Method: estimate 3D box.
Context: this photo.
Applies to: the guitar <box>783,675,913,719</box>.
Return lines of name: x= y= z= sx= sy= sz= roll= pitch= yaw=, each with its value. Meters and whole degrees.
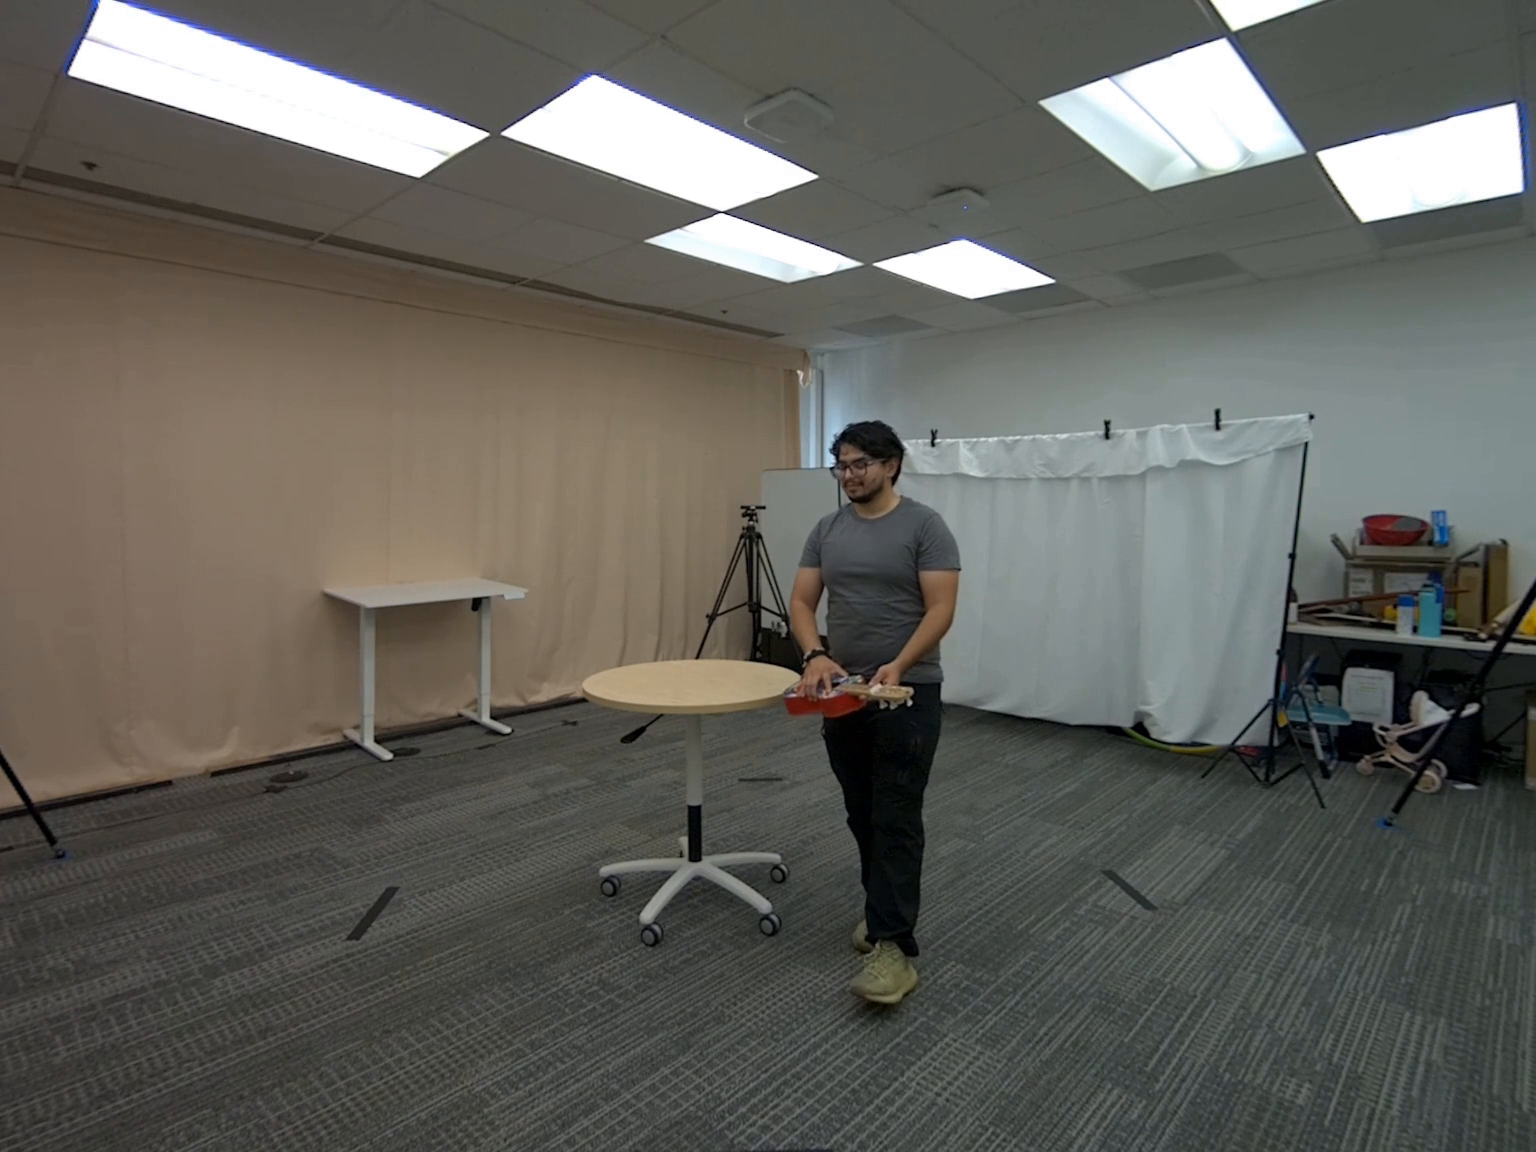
guitar: x=0.207 y=0.341 z=2.328 sx=0.191 sy=0.070 sz=0.508 roll=-25 pitch=11 yaw=-18
